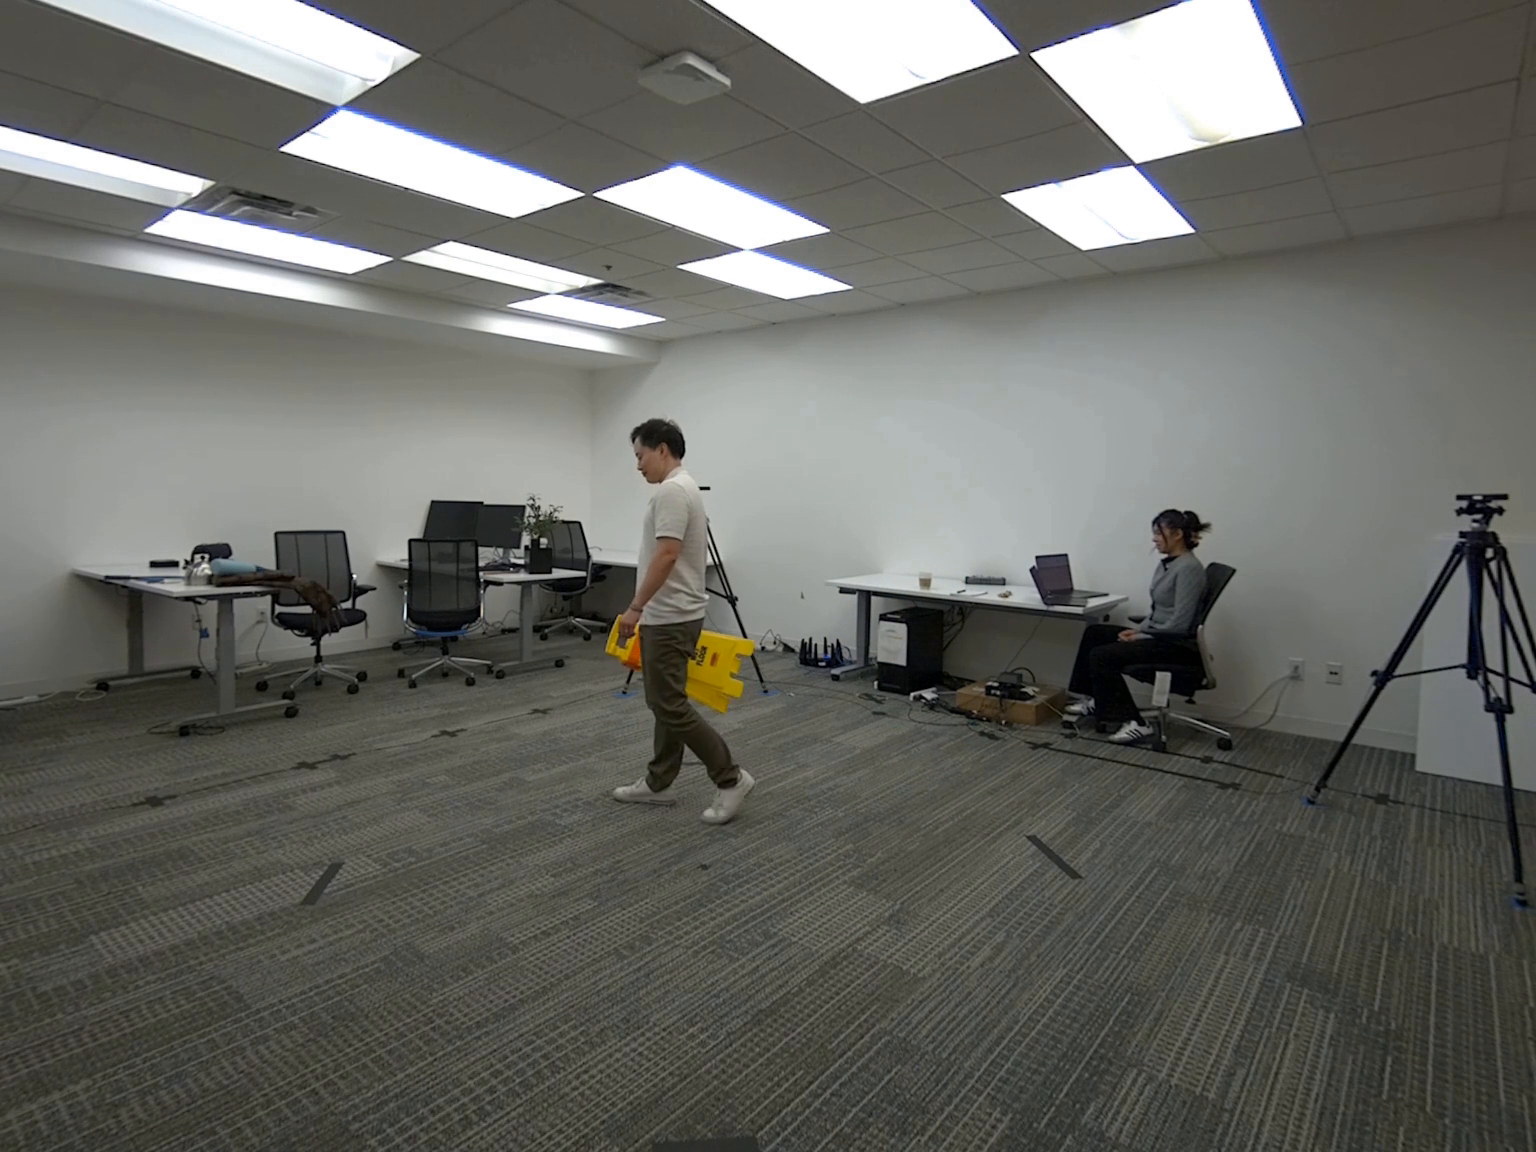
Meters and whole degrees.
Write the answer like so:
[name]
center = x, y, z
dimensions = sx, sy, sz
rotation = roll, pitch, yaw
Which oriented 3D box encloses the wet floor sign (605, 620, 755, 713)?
[wet floor sign]
center = -0.437, 0.369, 3.991
dimensions = 0.642, 0.286, 0.288
rotation = 20, -26, -5
